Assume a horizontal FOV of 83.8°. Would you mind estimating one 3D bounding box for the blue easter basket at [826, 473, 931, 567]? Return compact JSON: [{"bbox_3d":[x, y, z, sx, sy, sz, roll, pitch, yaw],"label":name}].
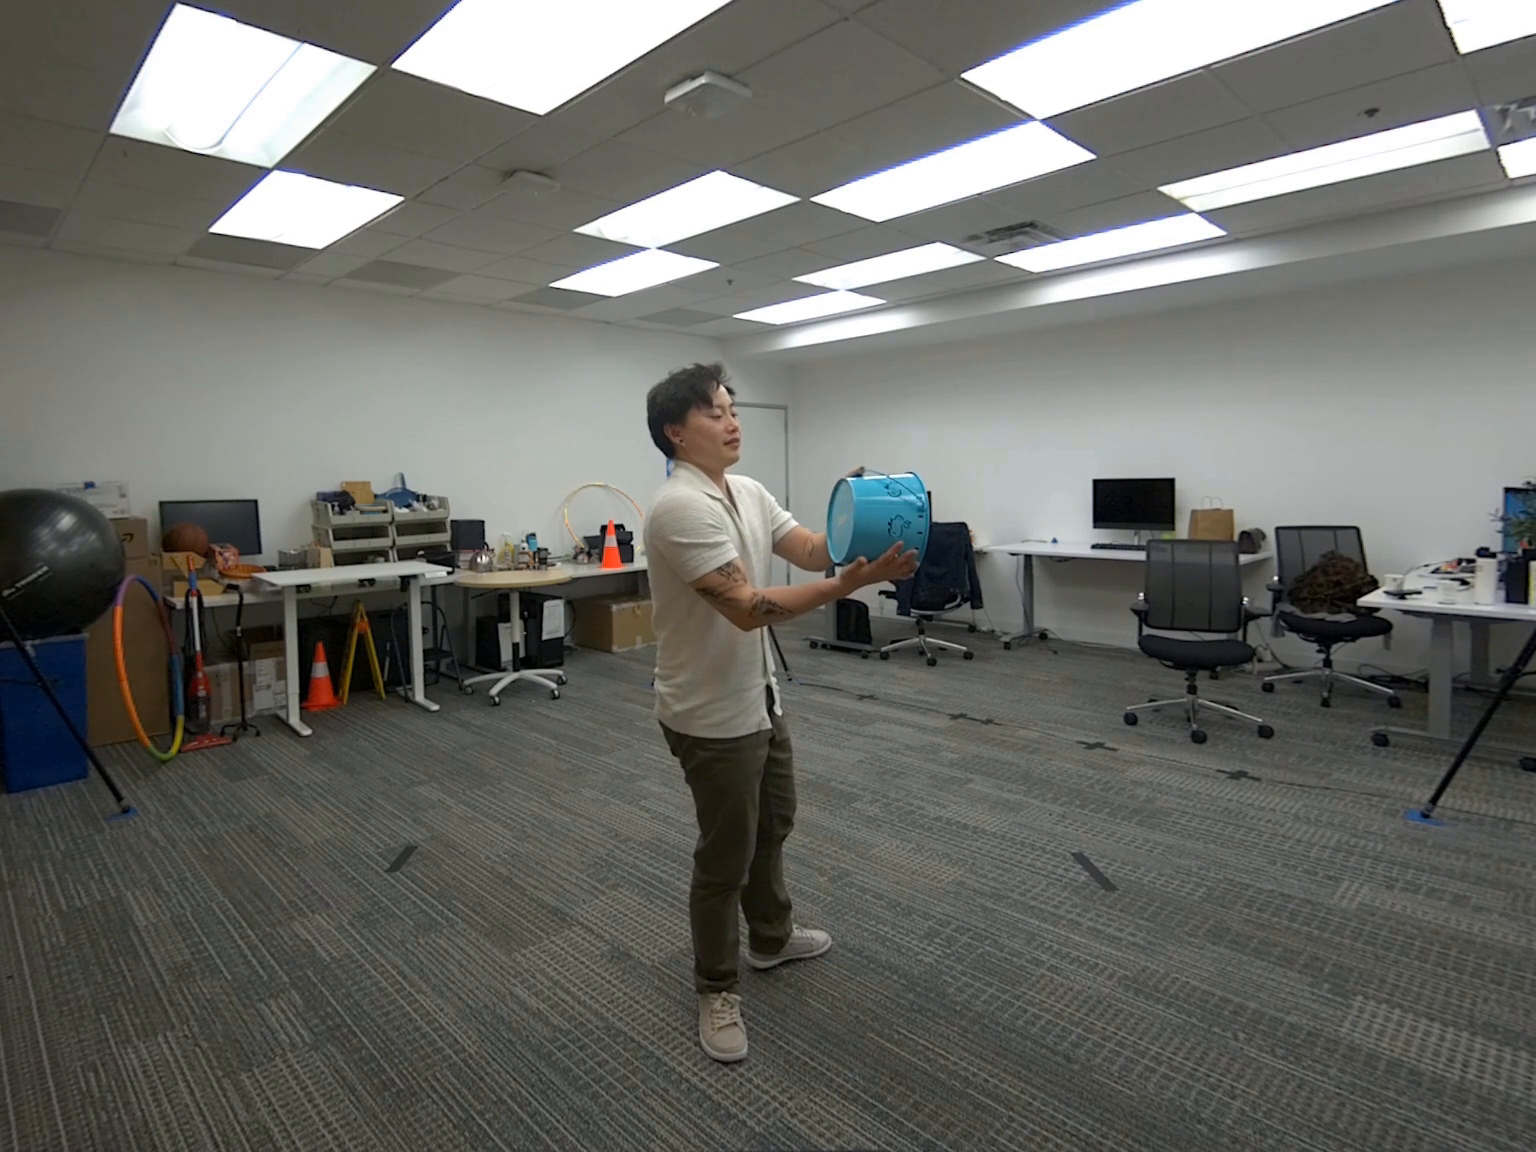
[{"bbox_3d":[0.231,-0.116,1.850,0.154,0.243,0.247,6,3,-12],"label":"blue easter basket"}]
